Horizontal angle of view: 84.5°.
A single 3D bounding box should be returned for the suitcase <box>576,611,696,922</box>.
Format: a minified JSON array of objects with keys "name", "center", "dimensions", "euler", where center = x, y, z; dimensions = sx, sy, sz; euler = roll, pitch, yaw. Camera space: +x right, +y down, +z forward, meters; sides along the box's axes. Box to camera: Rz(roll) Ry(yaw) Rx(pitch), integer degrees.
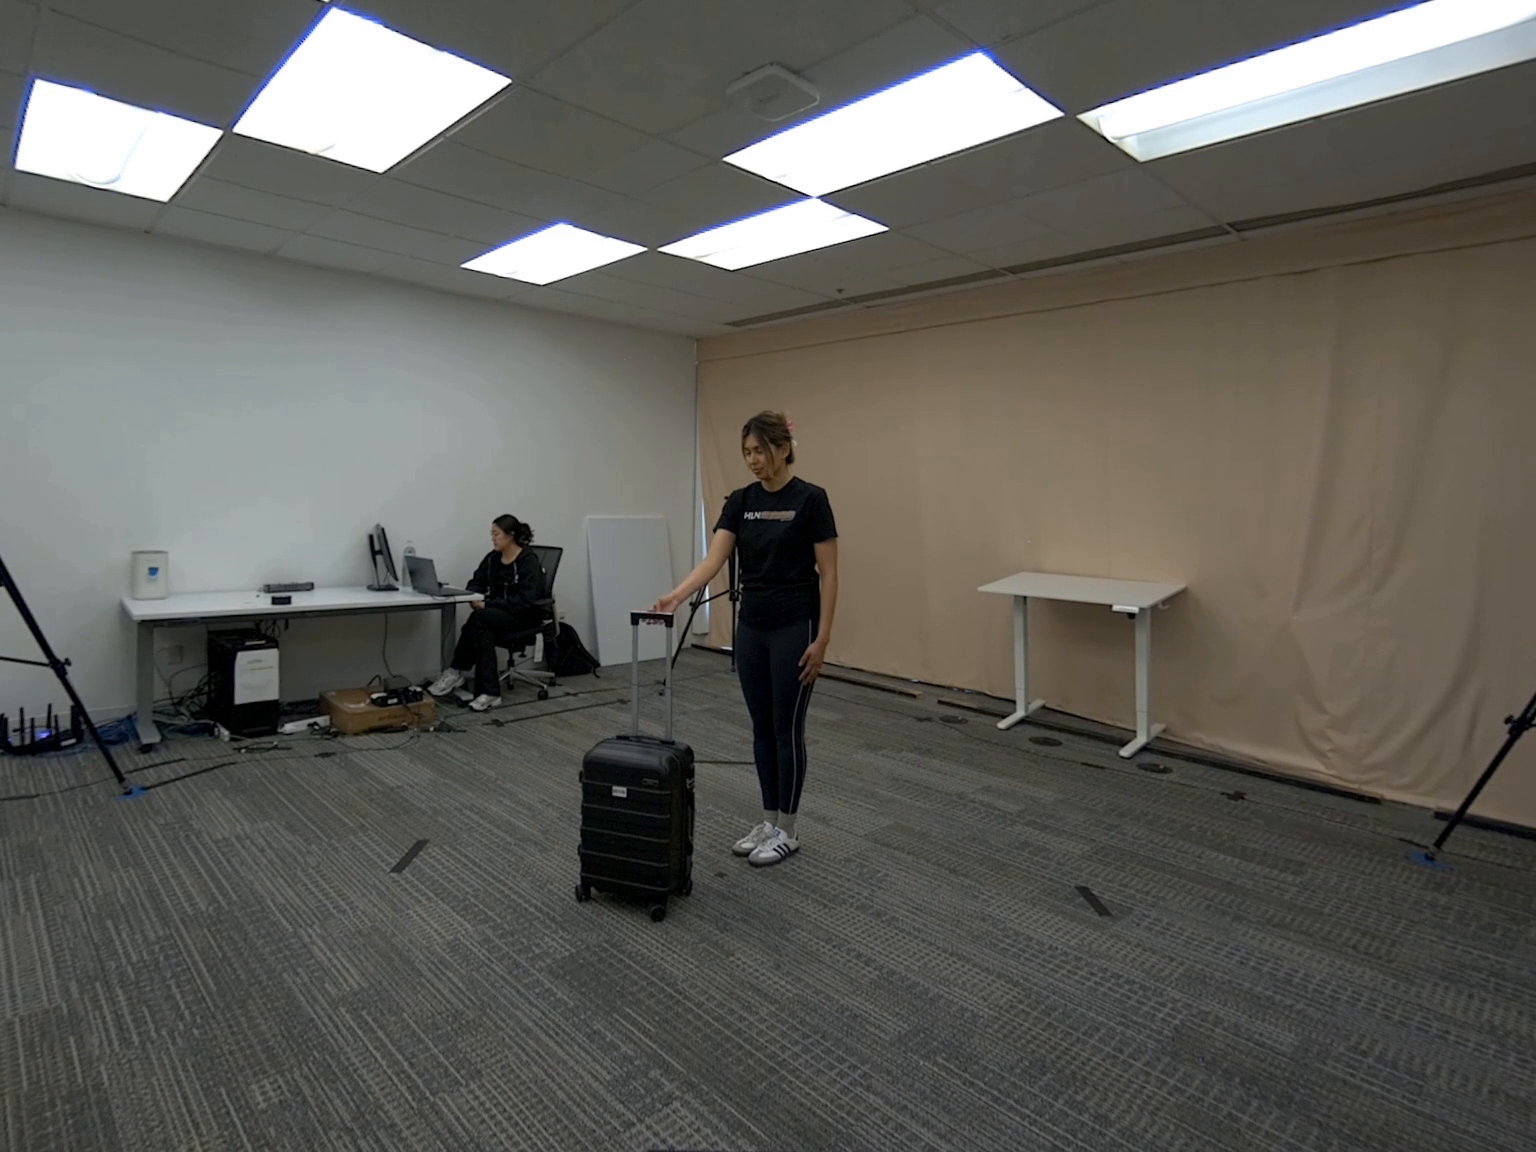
[{"name":"suitcase","center":[-0.452,0.642,2.889],"dimensions":[0.390,0.975,0.254],"euler":[2,5,18]}]
